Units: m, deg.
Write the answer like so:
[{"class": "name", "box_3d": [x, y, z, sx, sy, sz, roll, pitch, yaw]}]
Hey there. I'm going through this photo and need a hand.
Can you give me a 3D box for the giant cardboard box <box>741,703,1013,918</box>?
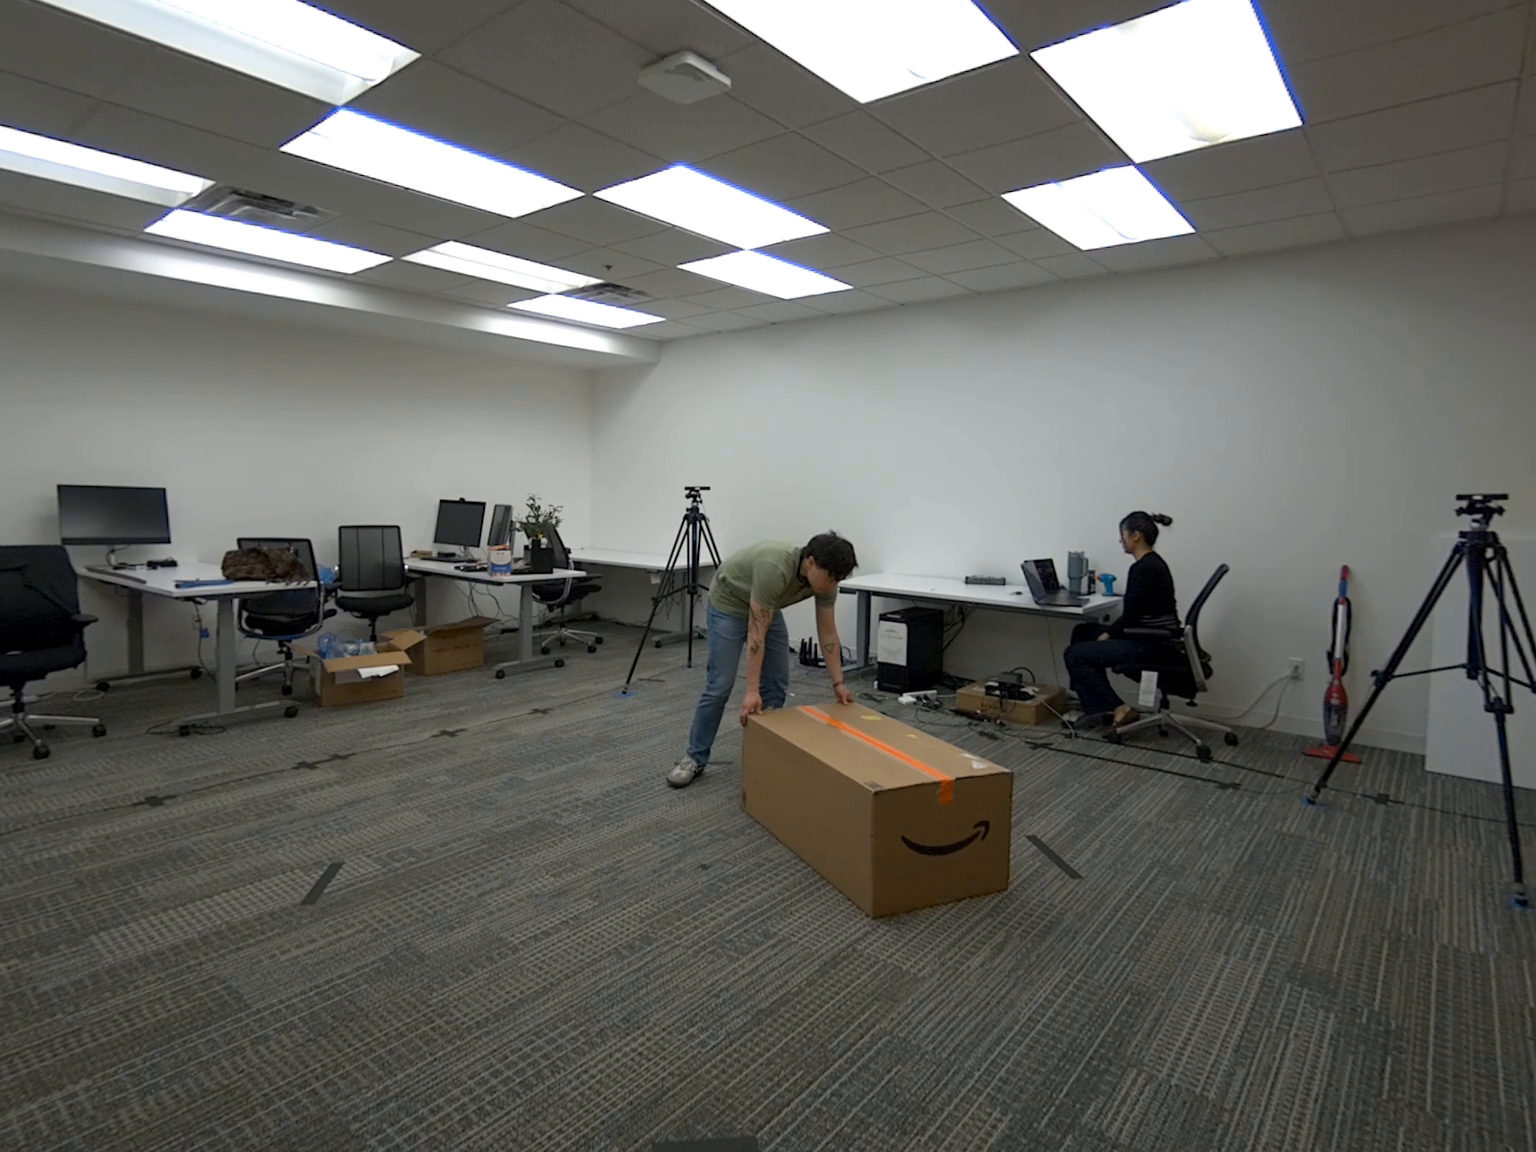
[{"class": "giant cardboard box", "box_3d": [0.362, 0.837, 3.317, 0.564, 0.425, 1.054, -1, 5, -25]}]
